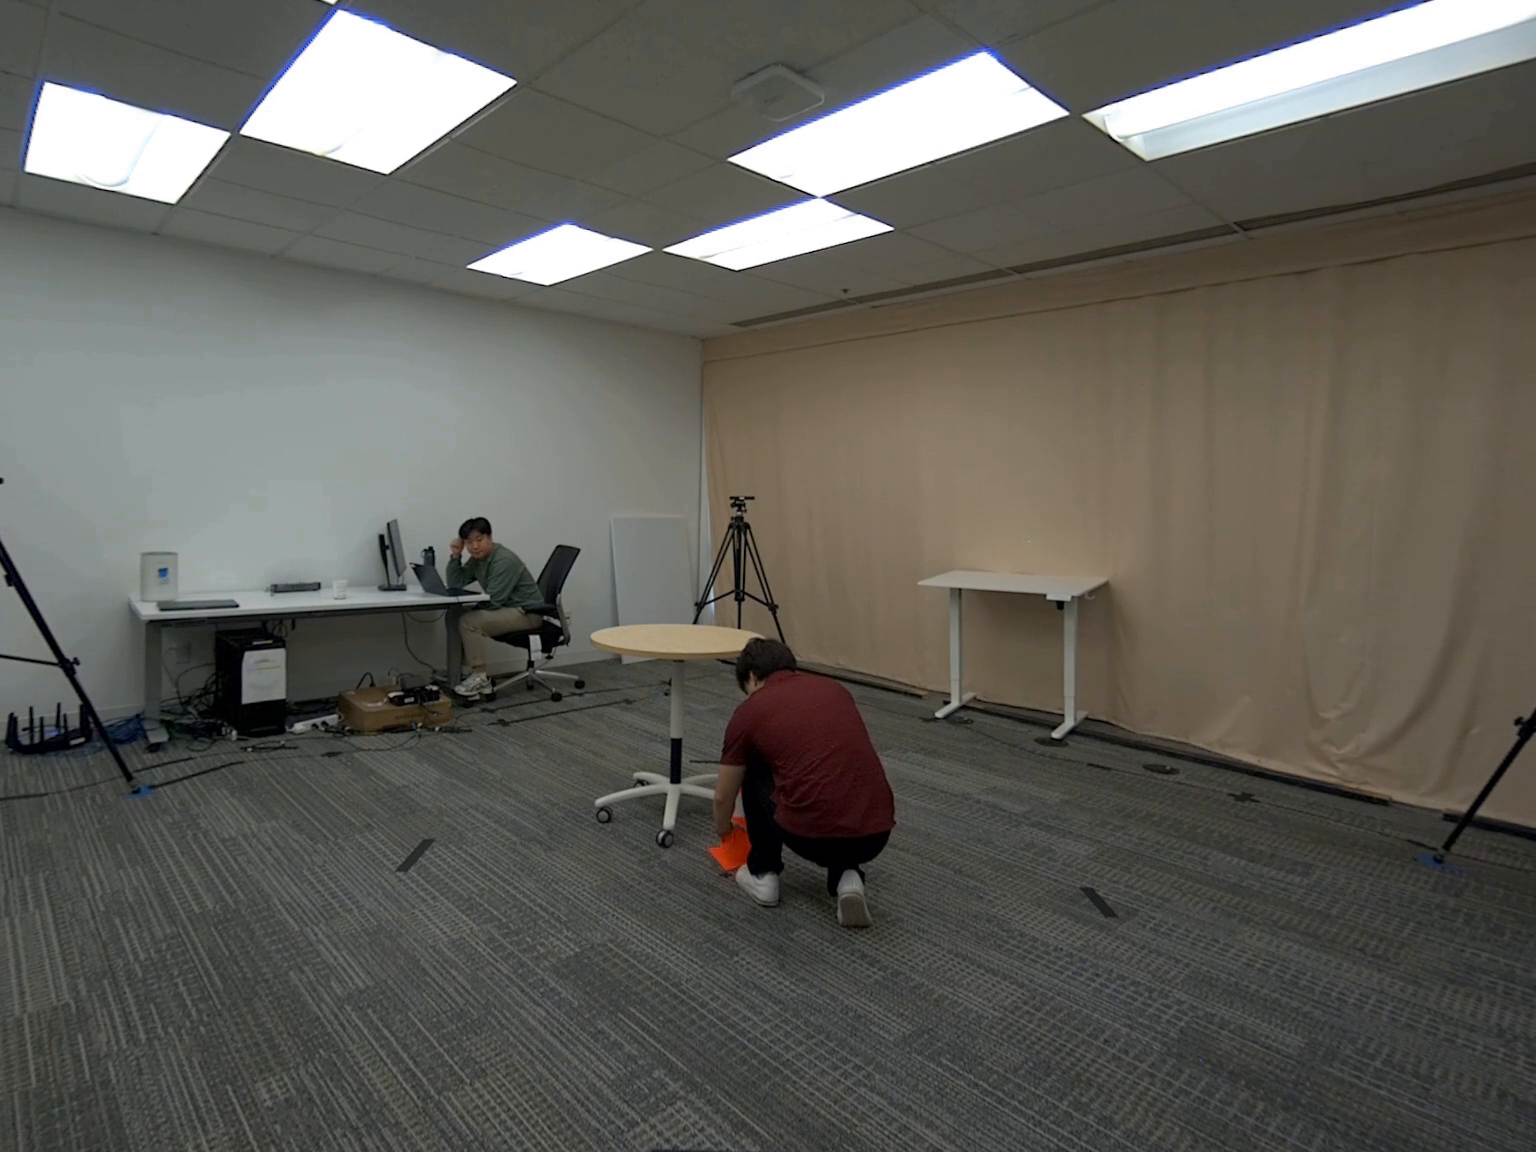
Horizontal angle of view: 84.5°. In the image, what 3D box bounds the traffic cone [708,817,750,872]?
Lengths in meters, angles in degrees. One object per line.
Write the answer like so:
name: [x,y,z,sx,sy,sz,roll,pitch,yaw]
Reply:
traffic cone: [-0.103,0.905,3.246,0.202,0.382,0.206,1,5,-16]
